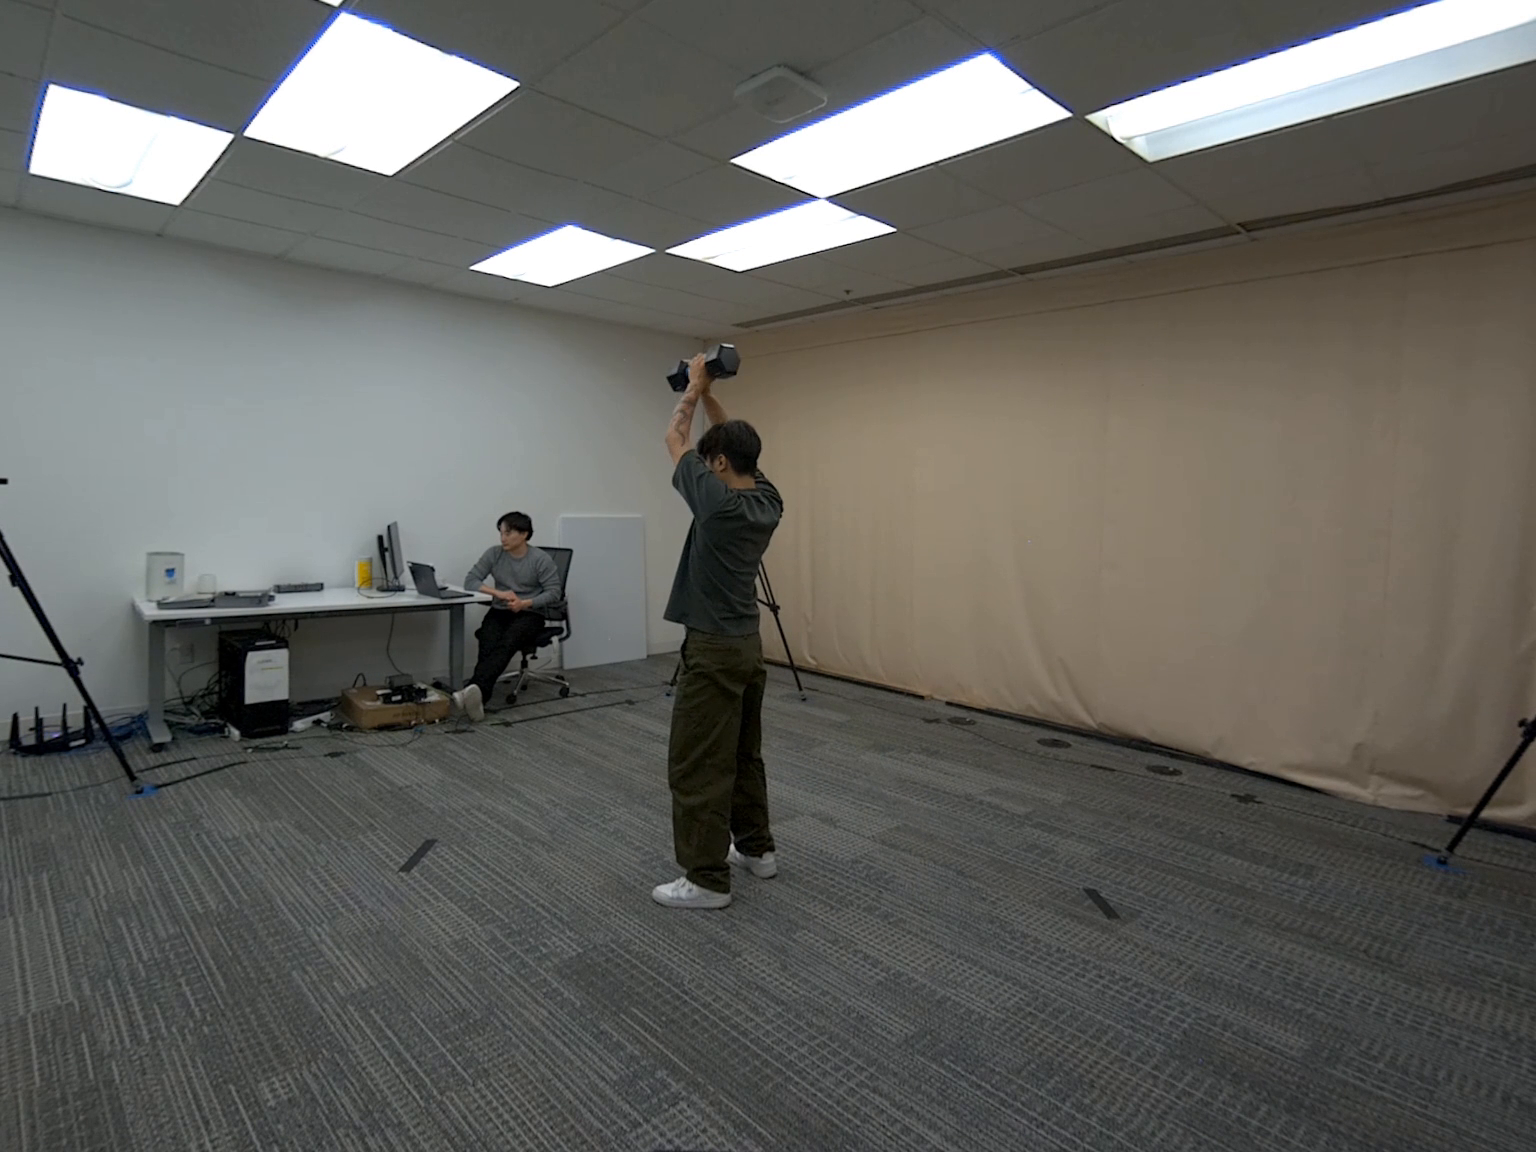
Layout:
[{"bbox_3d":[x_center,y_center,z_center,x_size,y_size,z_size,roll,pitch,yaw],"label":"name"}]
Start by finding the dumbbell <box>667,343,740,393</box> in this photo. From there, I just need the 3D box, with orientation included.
[{"bbox_3d":[-0.245,-0.744,3.026,0.299,0.120,0.108,-7,31,47],"label":"dumbbell"}]
